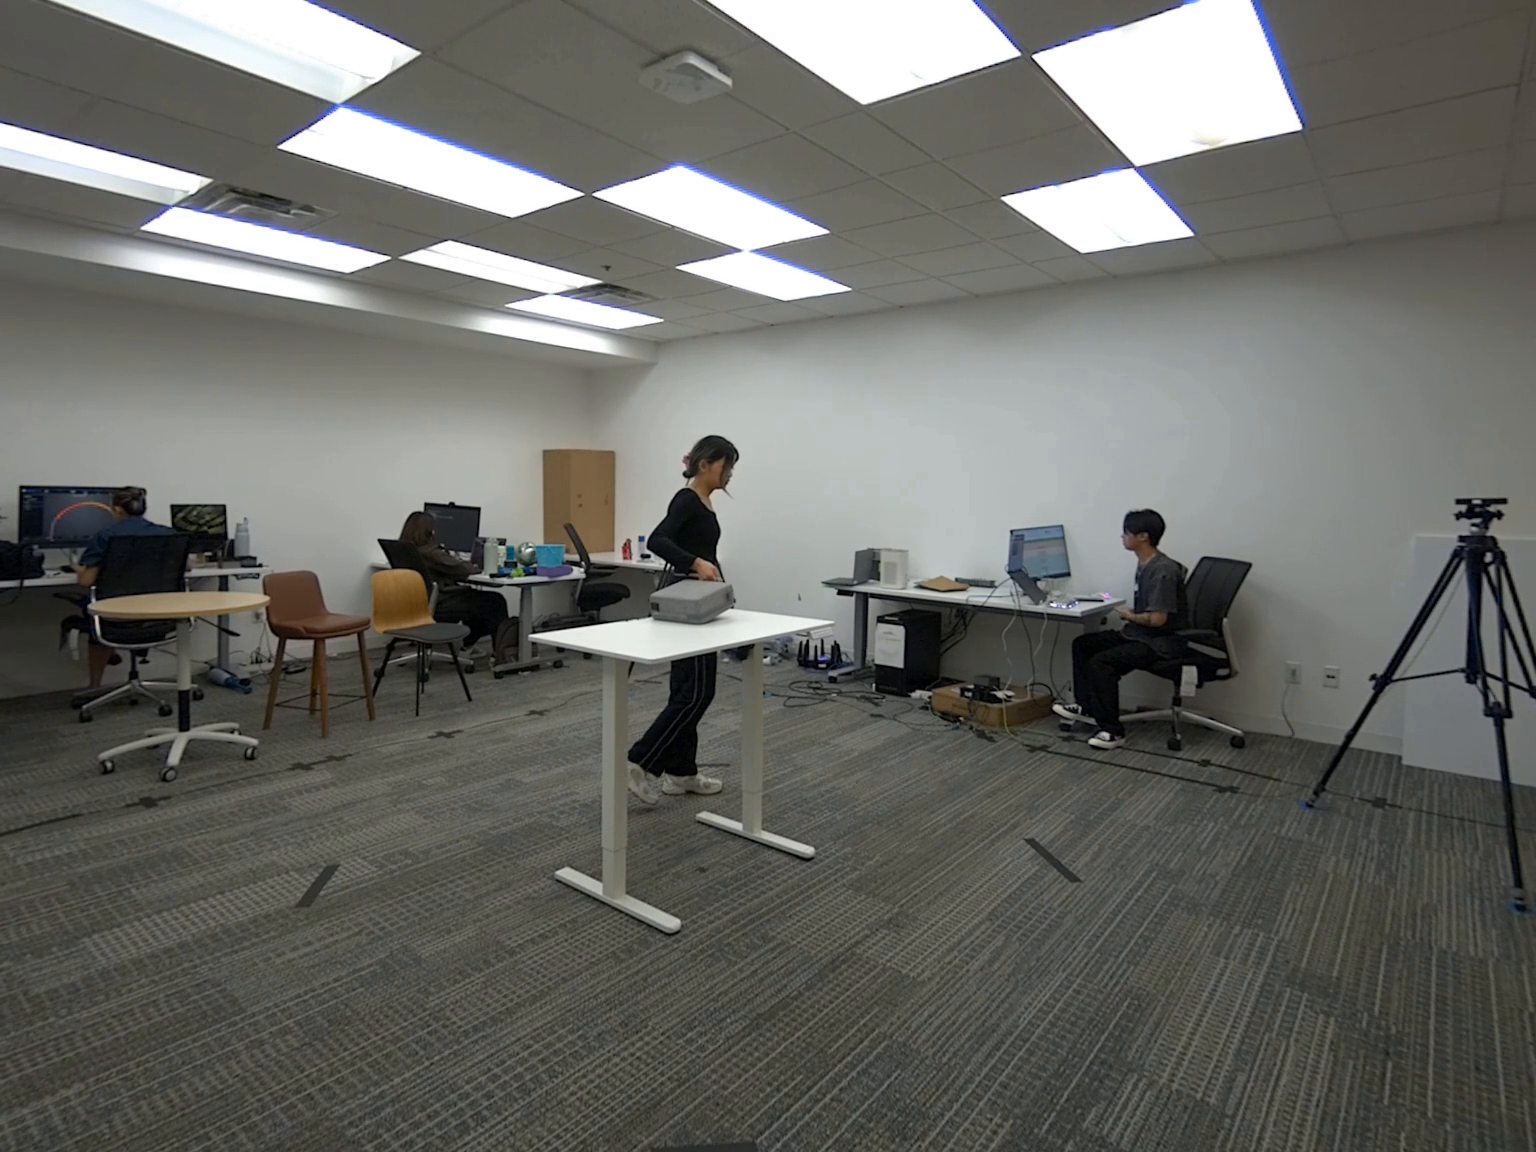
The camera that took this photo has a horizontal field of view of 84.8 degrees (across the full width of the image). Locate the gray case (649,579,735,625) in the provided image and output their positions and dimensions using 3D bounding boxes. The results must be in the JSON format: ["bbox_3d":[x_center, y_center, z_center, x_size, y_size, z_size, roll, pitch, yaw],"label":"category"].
[{"bbox_3d":[-0.308,0.094,3.304,0.265,0.103,0.256,3,17,32],"label":"gray case"}]
